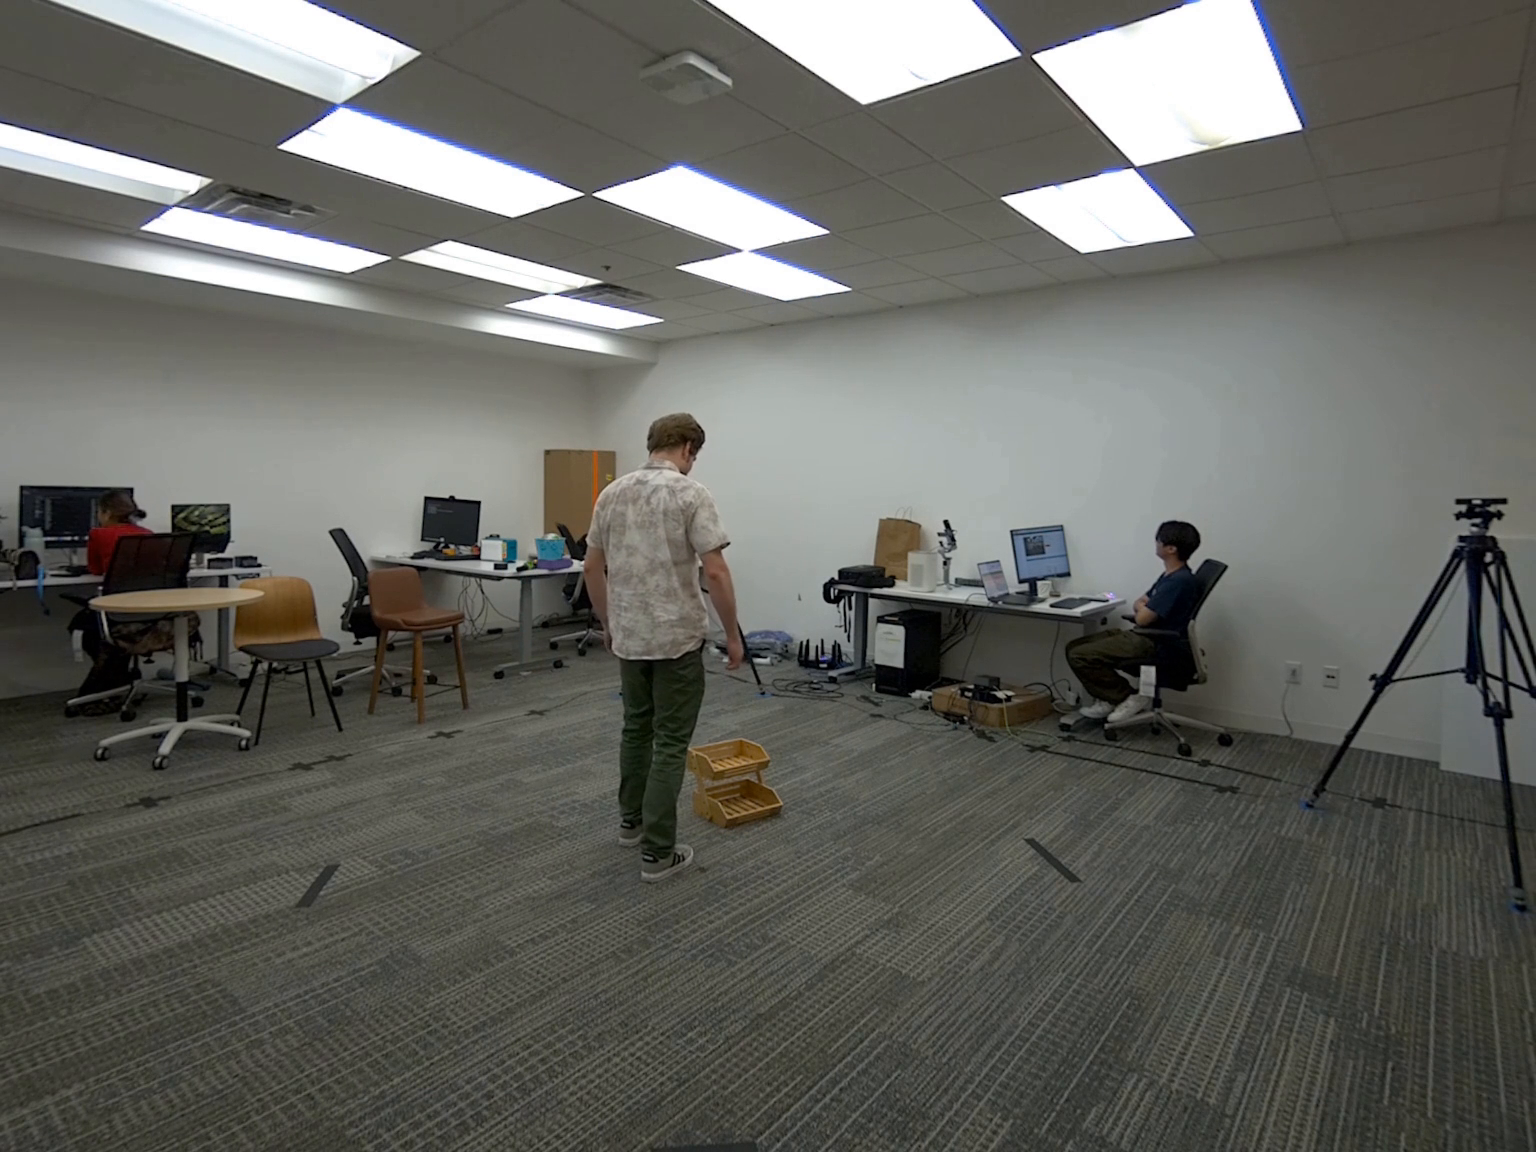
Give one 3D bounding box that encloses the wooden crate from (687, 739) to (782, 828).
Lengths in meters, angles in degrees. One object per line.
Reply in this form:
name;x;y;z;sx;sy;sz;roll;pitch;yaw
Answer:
wooden crate;-0.152;0.881;3.680;0.315;0.272;0.312;-3;5;-38
